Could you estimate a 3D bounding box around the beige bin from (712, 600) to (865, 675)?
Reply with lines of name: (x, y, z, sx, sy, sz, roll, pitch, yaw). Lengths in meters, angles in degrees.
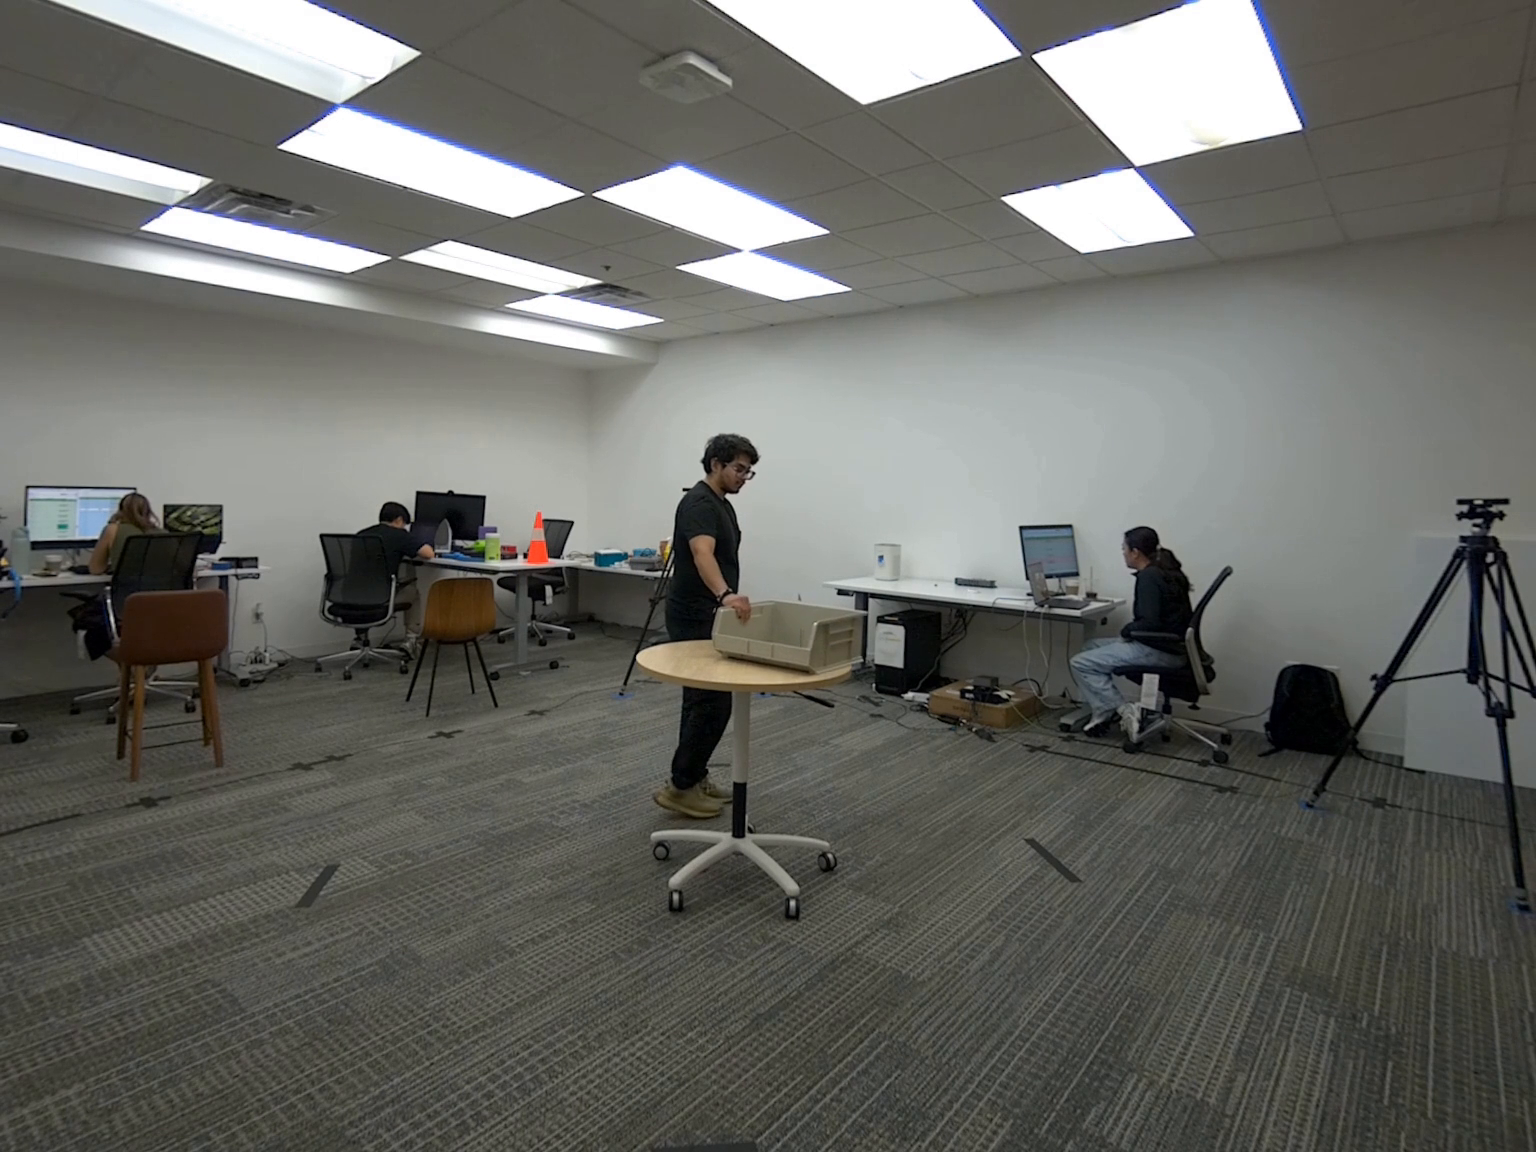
beige bin: (0.067, 0.211, 3.039, 0.436, 0.188, 0.366, 5, 5, 37)
